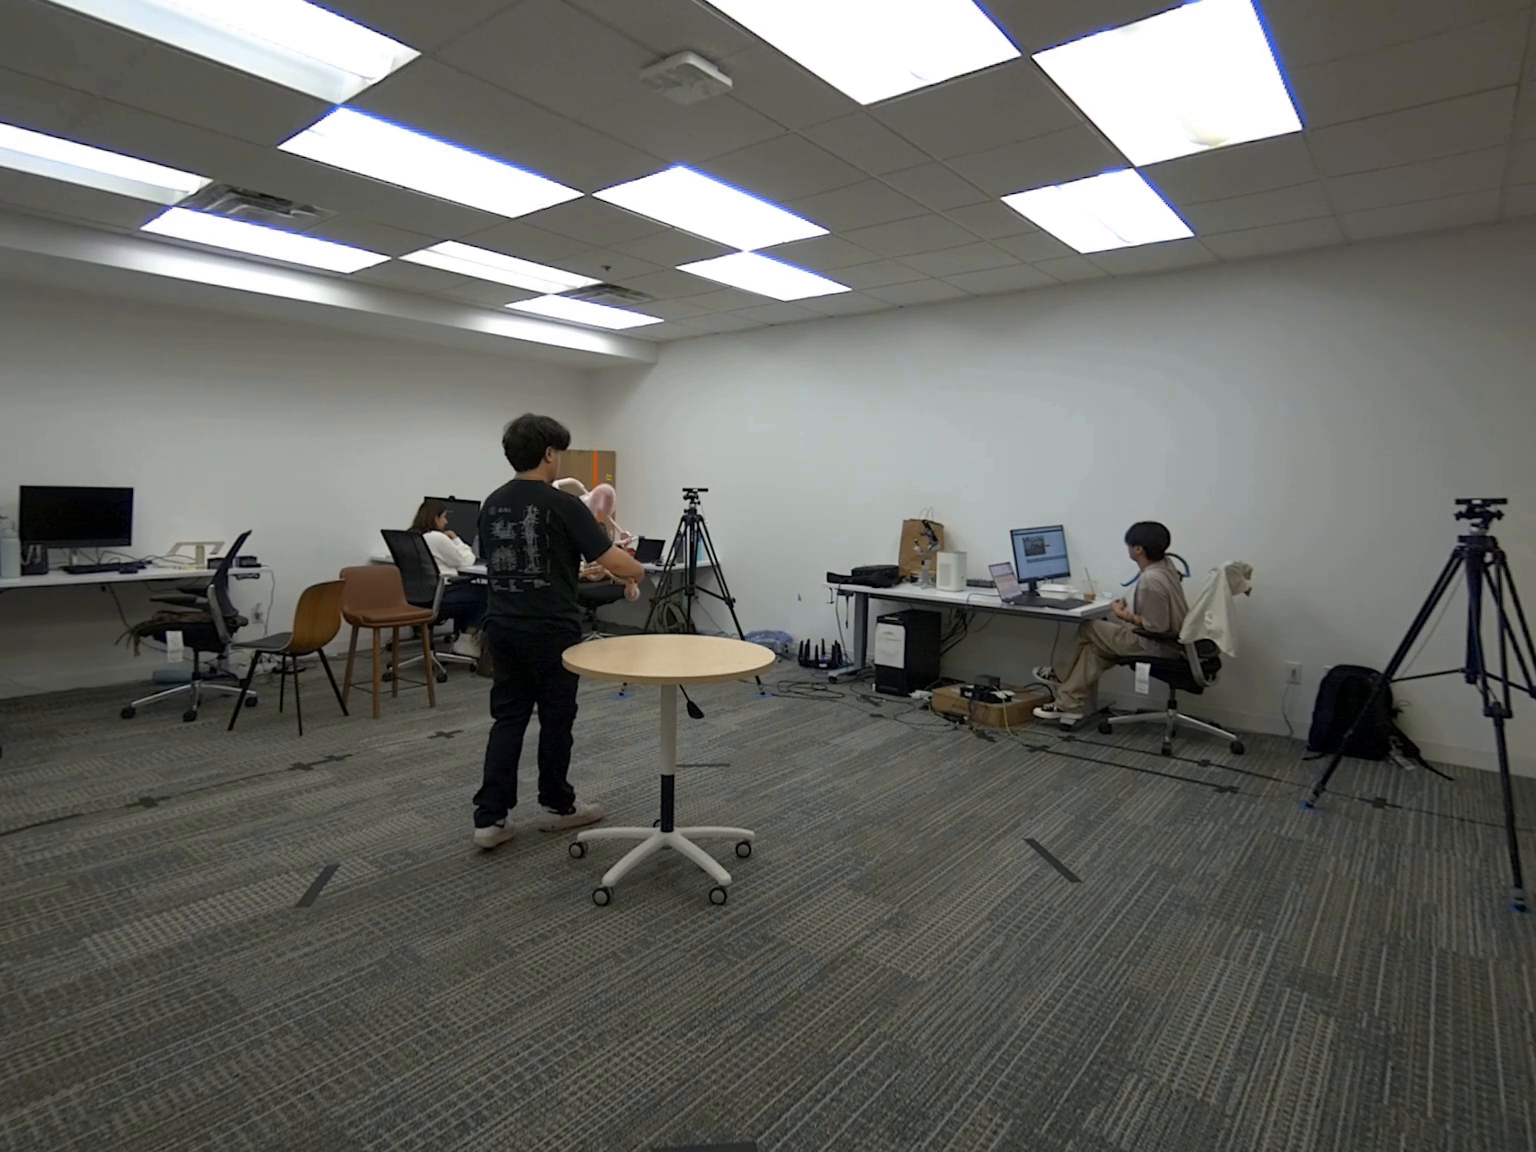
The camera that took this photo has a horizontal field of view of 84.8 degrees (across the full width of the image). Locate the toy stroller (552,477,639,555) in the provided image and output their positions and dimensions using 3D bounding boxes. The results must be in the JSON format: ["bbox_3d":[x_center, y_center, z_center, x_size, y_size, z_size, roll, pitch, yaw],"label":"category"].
[{"bbox_3d":[-0.732,-0.159,3.654,0.350,0.531,0.276,0,8,25],"label":"toy stroller"}]
